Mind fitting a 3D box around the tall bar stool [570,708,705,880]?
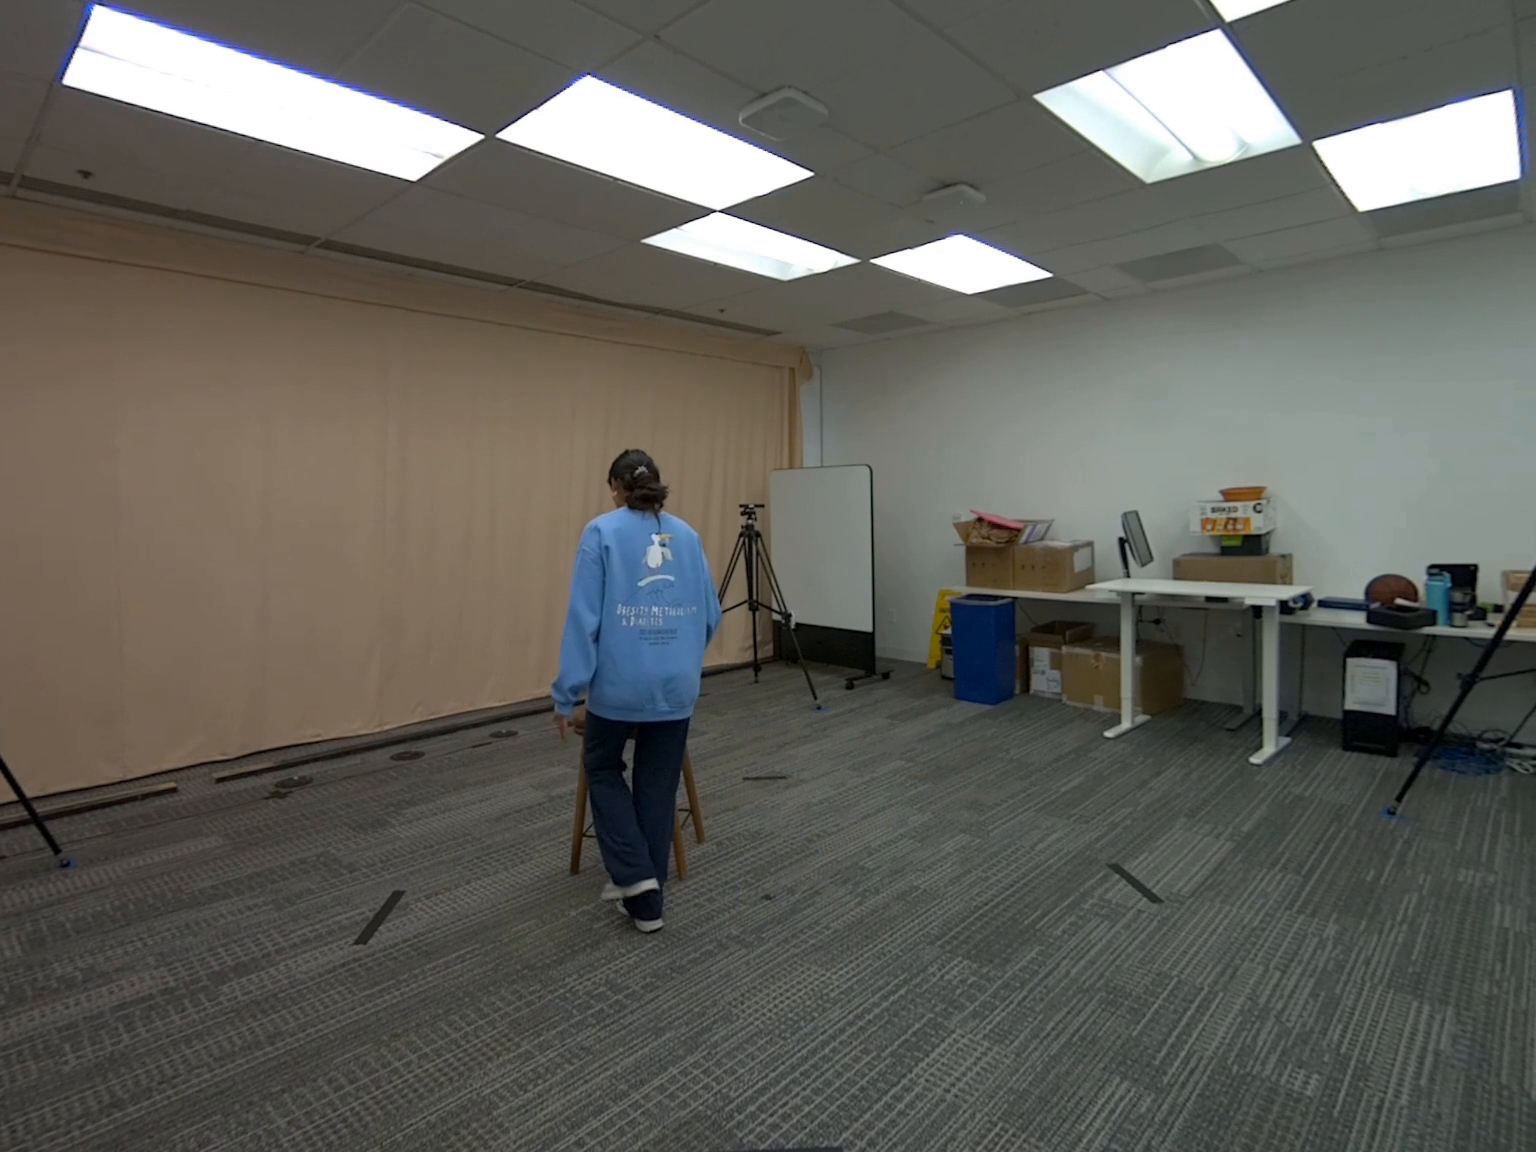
[{"bbox_3d":[-0.512,0.684,3.333,0.473,0.887,0.453,1,4,9],"label":"tall bar stool"}]
